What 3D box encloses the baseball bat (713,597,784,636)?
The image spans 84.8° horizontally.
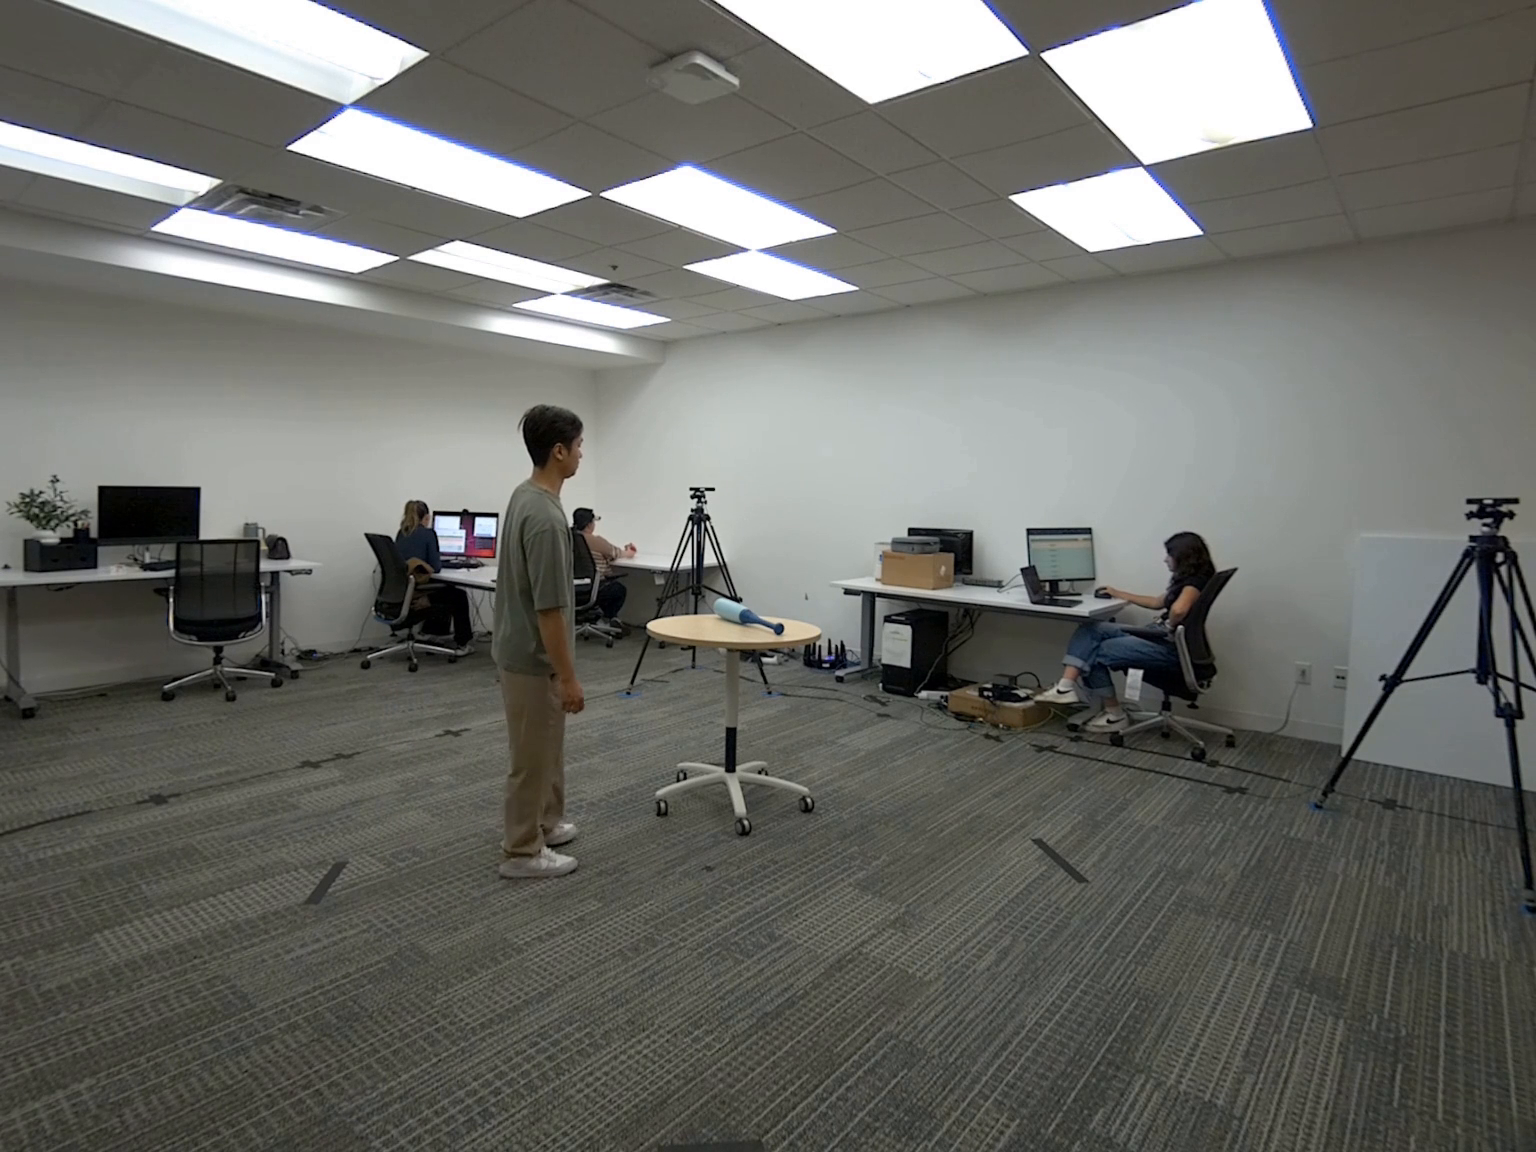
[{"bbox_3d":[-0.101,0.183,3.787,0.087,0.088,0.561,-1,9,-31],"label":"baseball bat"}]
